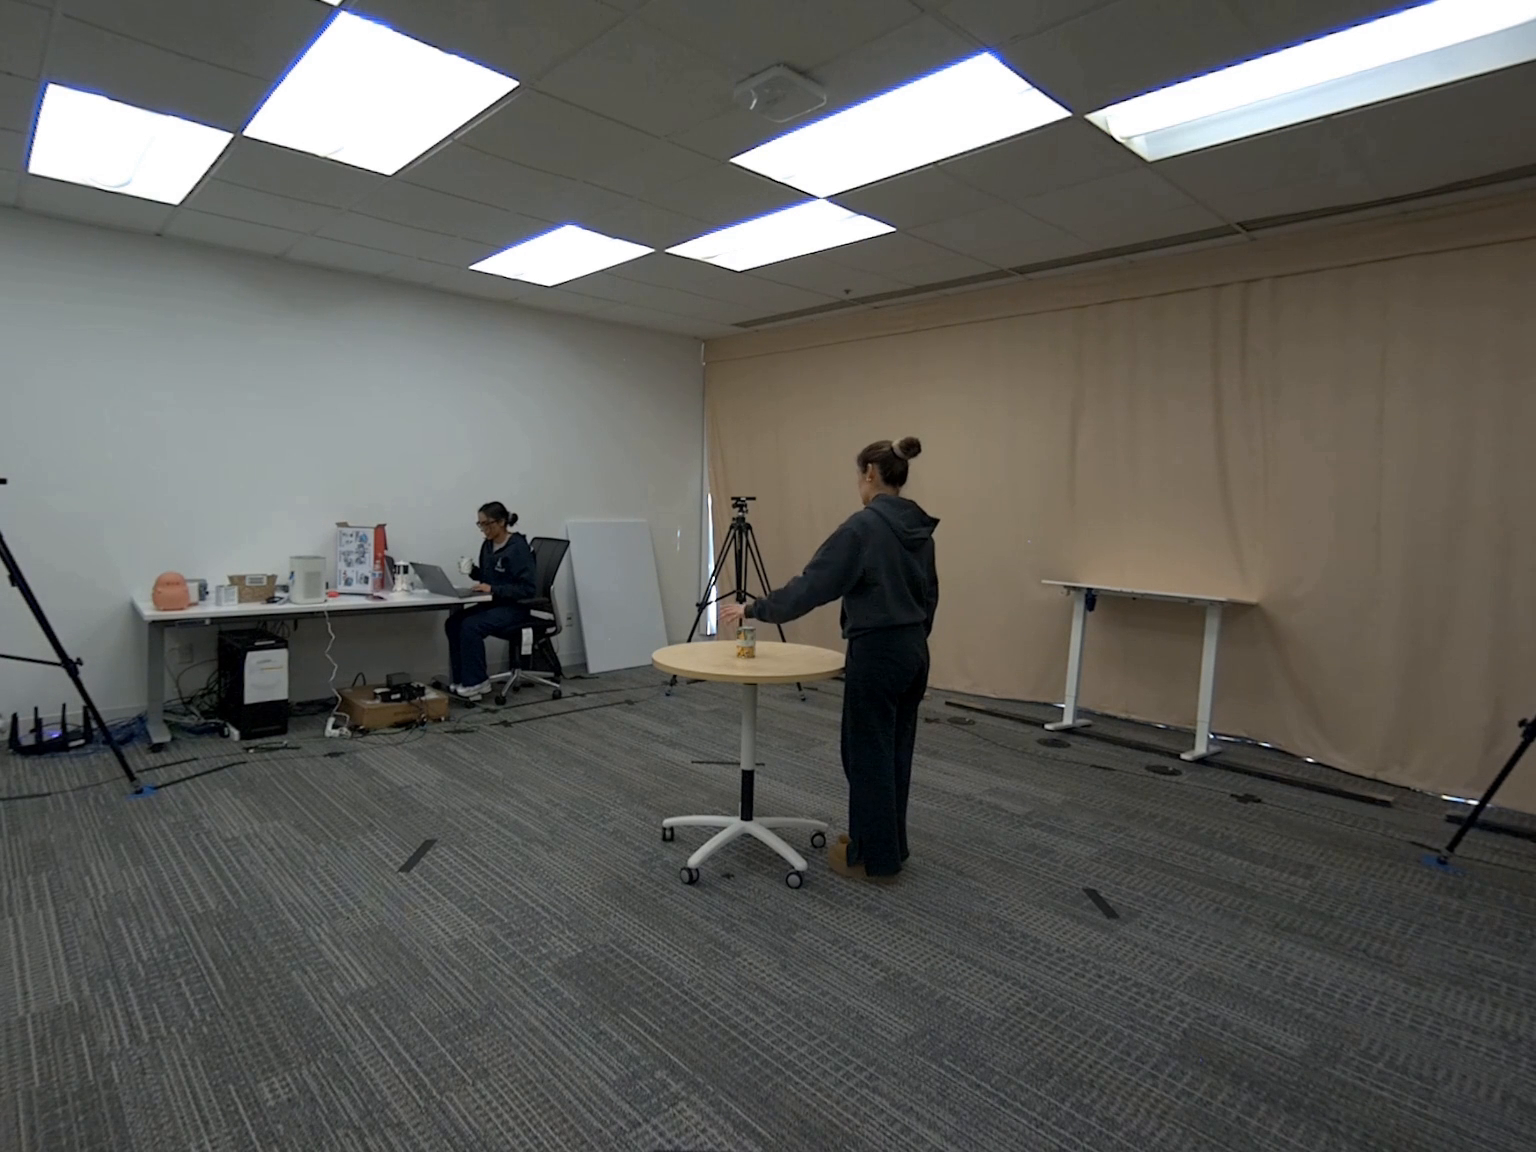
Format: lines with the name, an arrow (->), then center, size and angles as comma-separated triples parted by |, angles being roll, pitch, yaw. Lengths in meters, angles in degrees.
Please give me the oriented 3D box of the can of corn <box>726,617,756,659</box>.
can of corn -> -0.091, 0.252, 3.257 | 0.074, 0.111, 0.074 | 2, 3, -1
